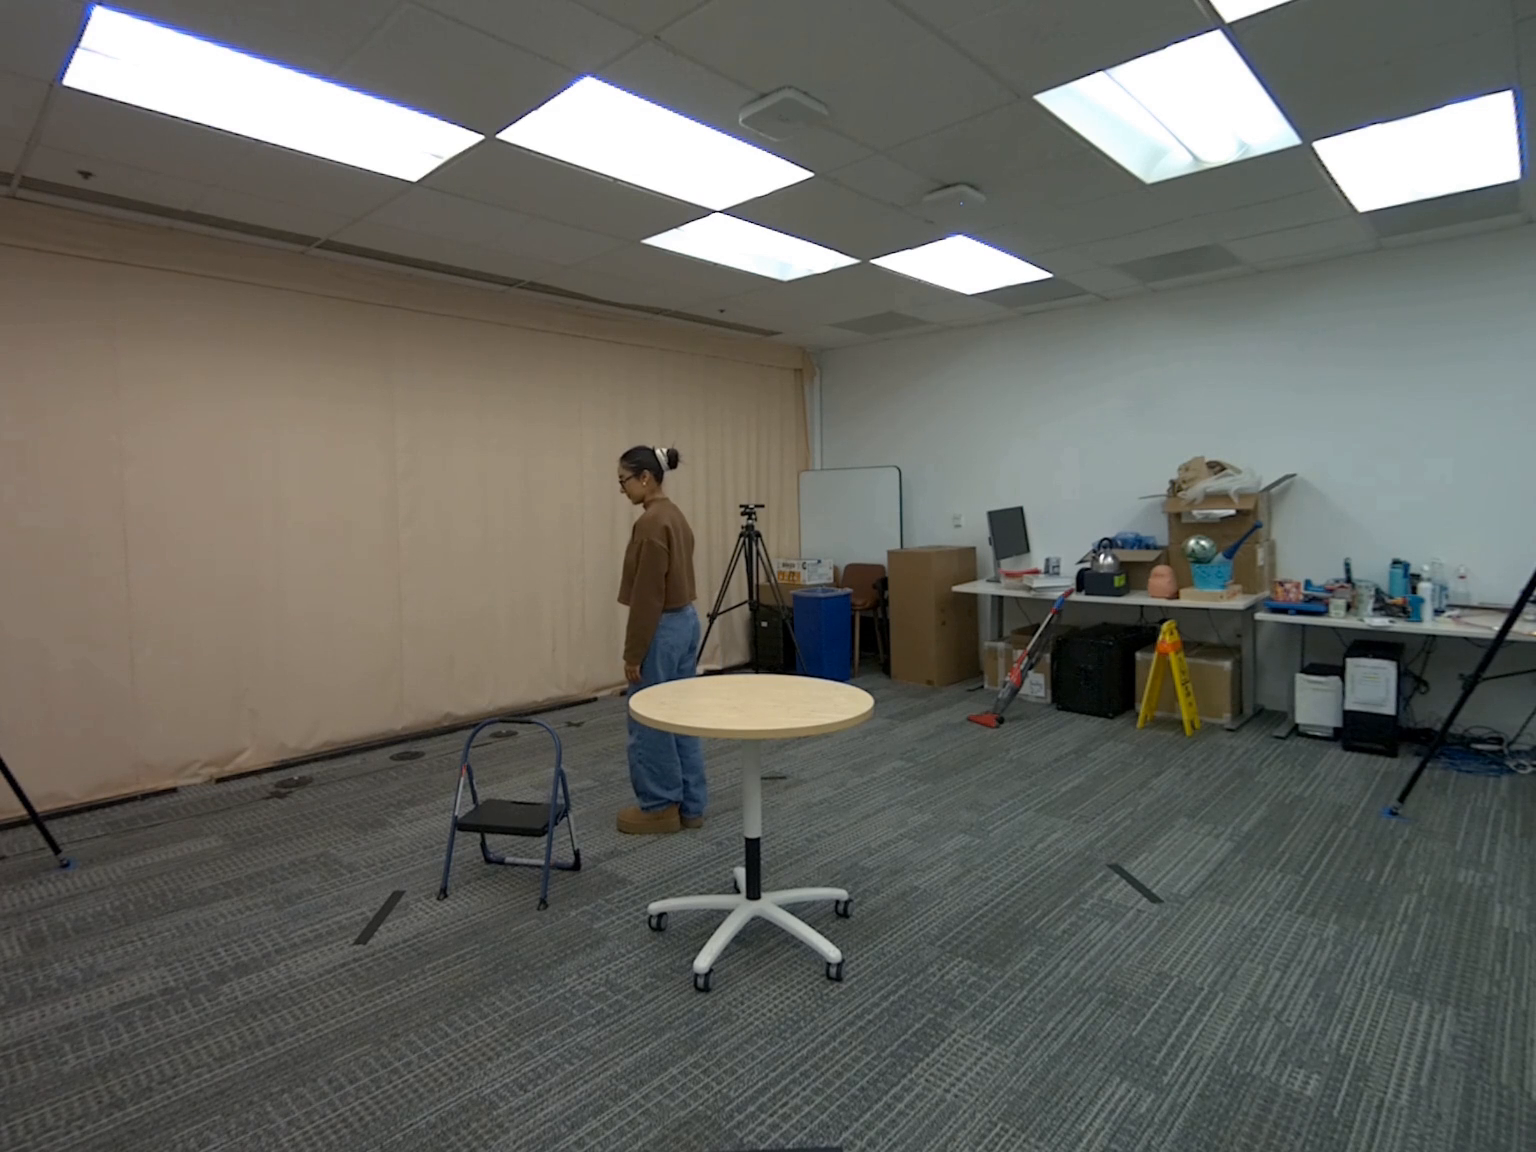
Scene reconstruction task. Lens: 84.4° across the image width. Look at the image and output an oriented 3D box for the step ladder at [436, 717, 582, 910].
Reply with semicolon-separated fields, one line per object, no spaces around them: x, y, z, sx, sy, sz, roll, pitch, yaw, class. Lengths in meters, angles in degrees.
-0.960;0.849;3.129;0.437;0.605;0.345;0;3;13;step ladder
